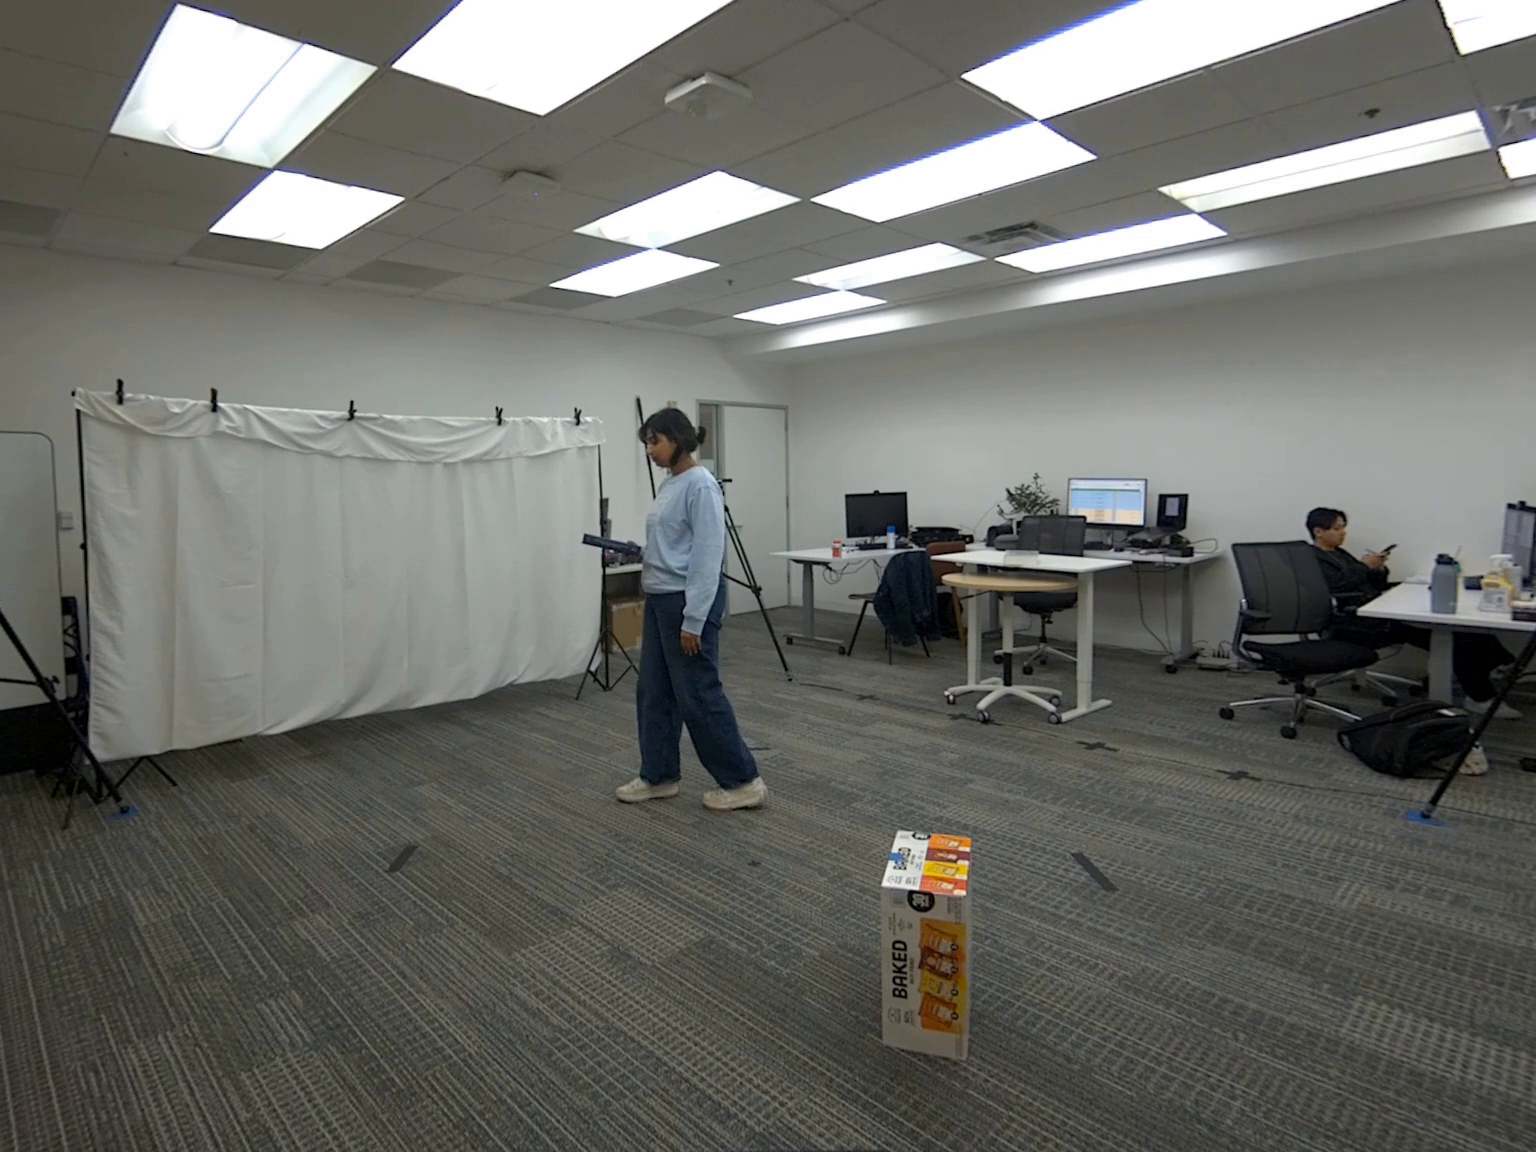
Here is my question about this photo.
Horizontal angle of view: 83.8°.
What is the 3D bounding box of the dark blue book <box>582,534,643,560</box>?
[{"bbox_3d":[-0.664,-0.137,3.639,0.241,0.045,0.166,12,0,-15],"label":"dark blue book"}]
